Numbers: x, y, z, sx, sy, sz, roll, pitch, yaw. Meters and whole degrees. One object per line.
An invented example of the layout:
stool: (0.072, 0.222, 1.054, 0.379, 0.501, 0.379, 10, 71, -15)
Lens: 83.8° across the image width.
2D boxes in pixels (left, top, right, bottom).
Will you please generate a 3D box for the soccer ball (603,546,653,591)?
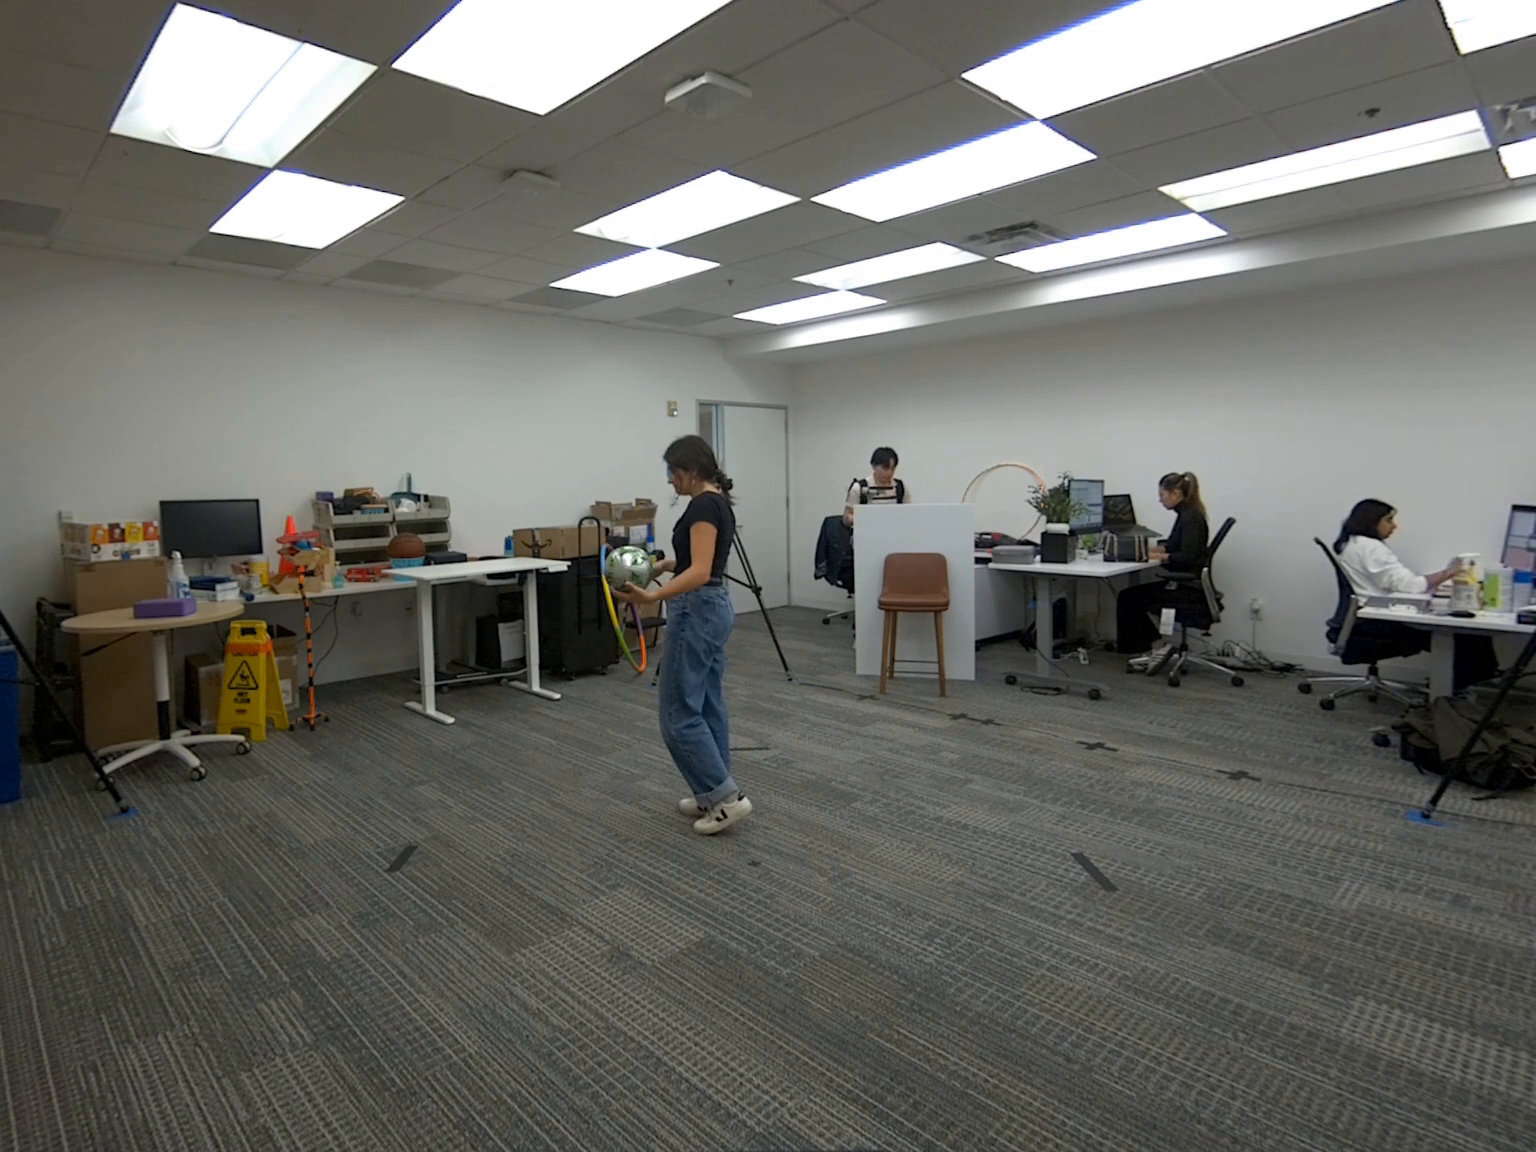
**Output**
soccer ball: (-0.508, -0.016, 3.264, 0.187, 0.187, 0.188, -1, 5, -2)
